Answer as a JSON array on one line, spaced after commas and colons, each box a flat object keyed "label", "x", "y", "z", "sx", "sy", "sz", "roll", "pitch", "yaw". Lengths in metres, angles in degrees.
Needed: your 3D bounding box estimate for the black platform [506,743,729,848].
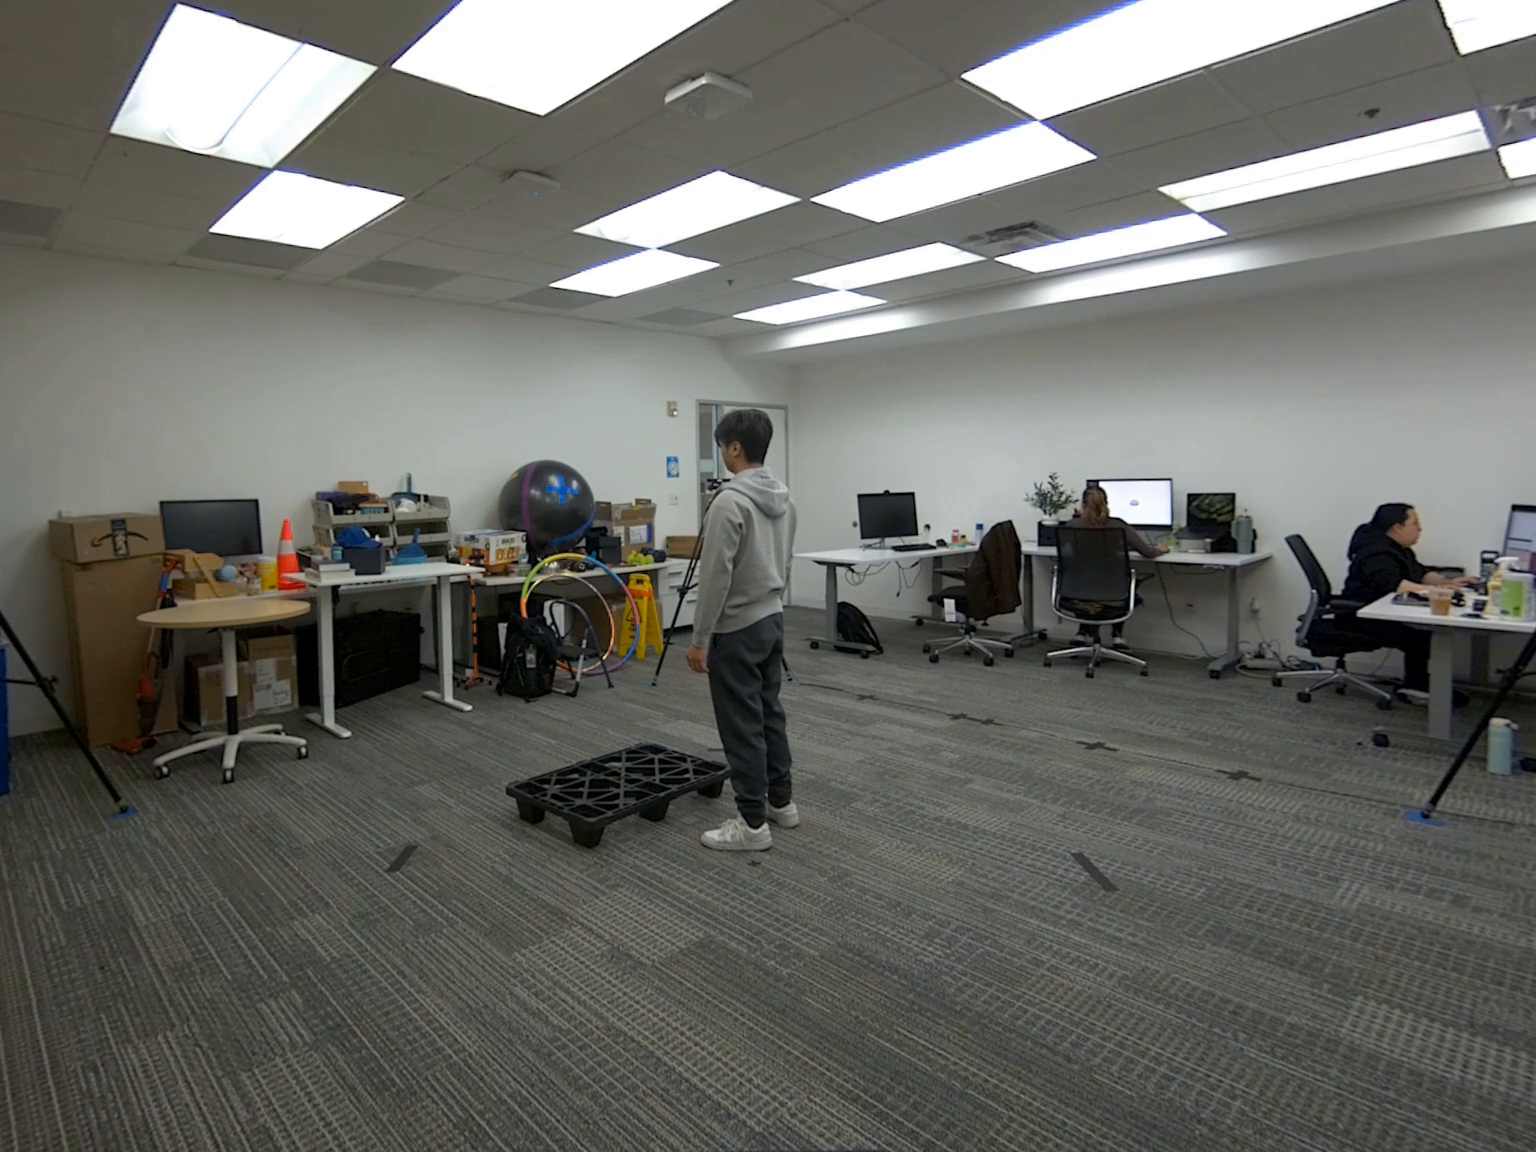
[{"label": "black platform", "x": -0.613, "y": 0.925, "z": 3.670, "sx": 0.624, "sy": 0.142, "sz": 0.785, "roll": 5, "pitch": 9, "yaw": 42}]
